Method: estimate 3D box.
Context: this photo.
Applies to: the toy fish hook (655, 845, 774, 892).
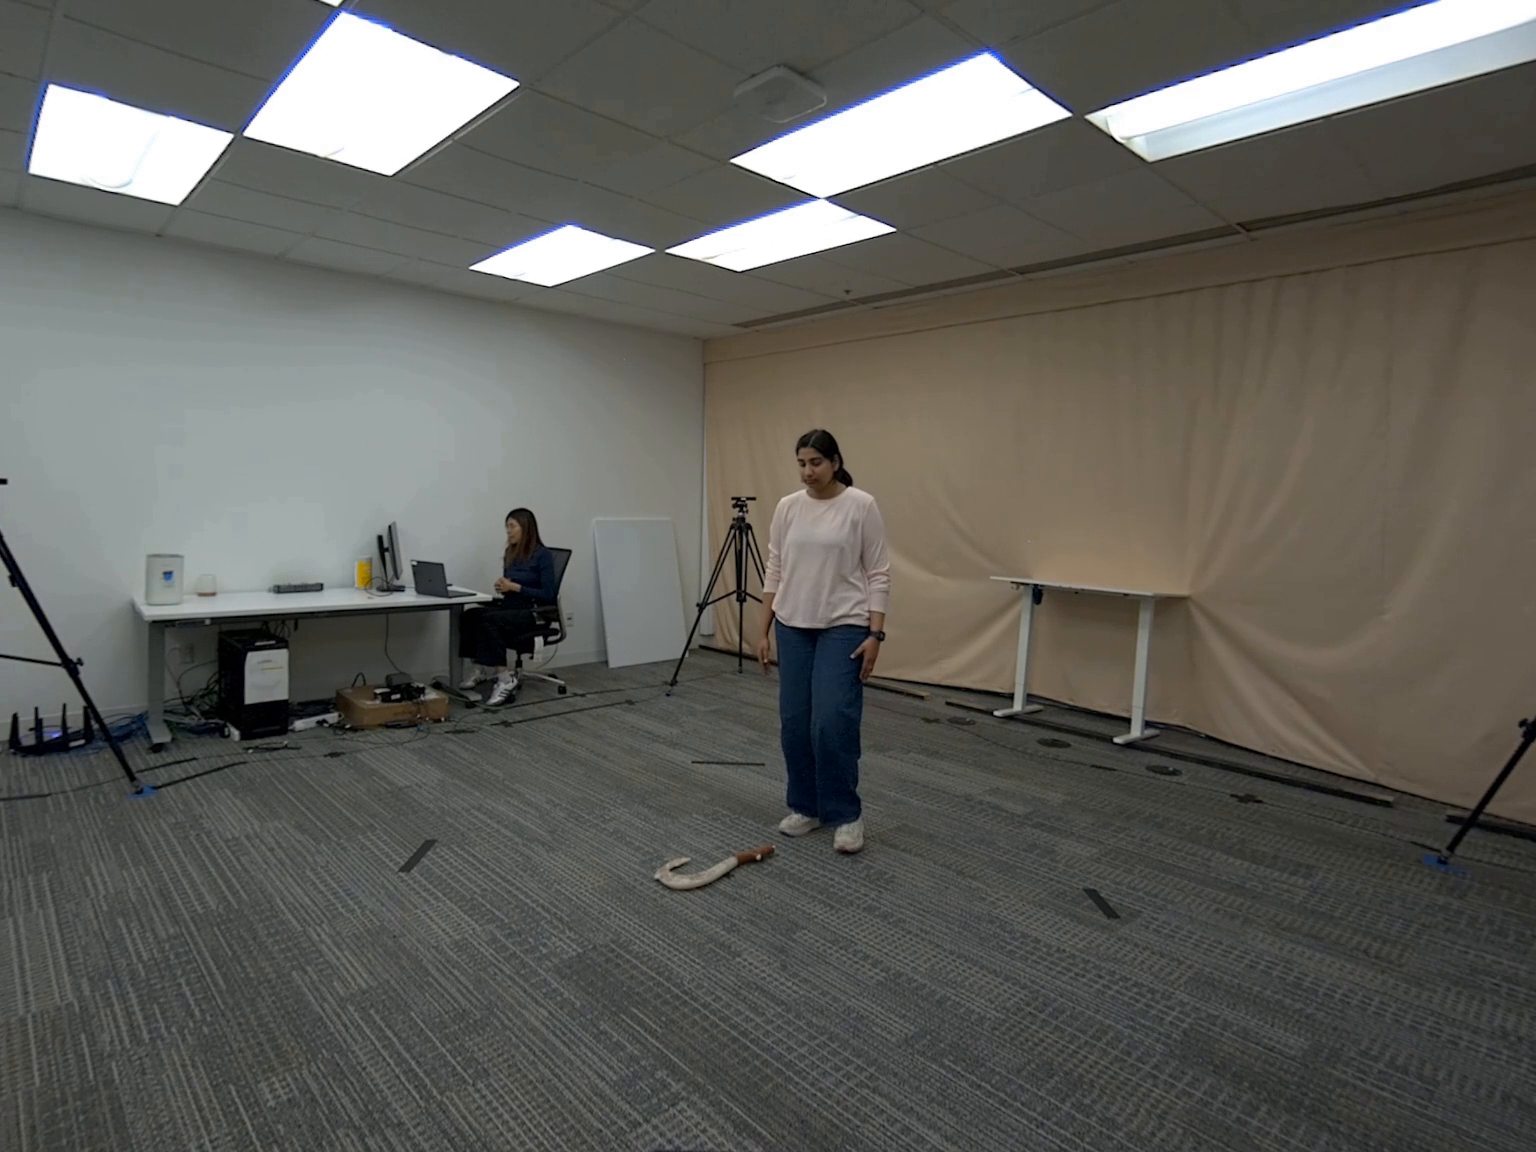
[{"bbox_3d":[-0.204,1.077,3.174,0.495,0.048,0.230,-3,8,-41],"label":"toy fish hook"}]
